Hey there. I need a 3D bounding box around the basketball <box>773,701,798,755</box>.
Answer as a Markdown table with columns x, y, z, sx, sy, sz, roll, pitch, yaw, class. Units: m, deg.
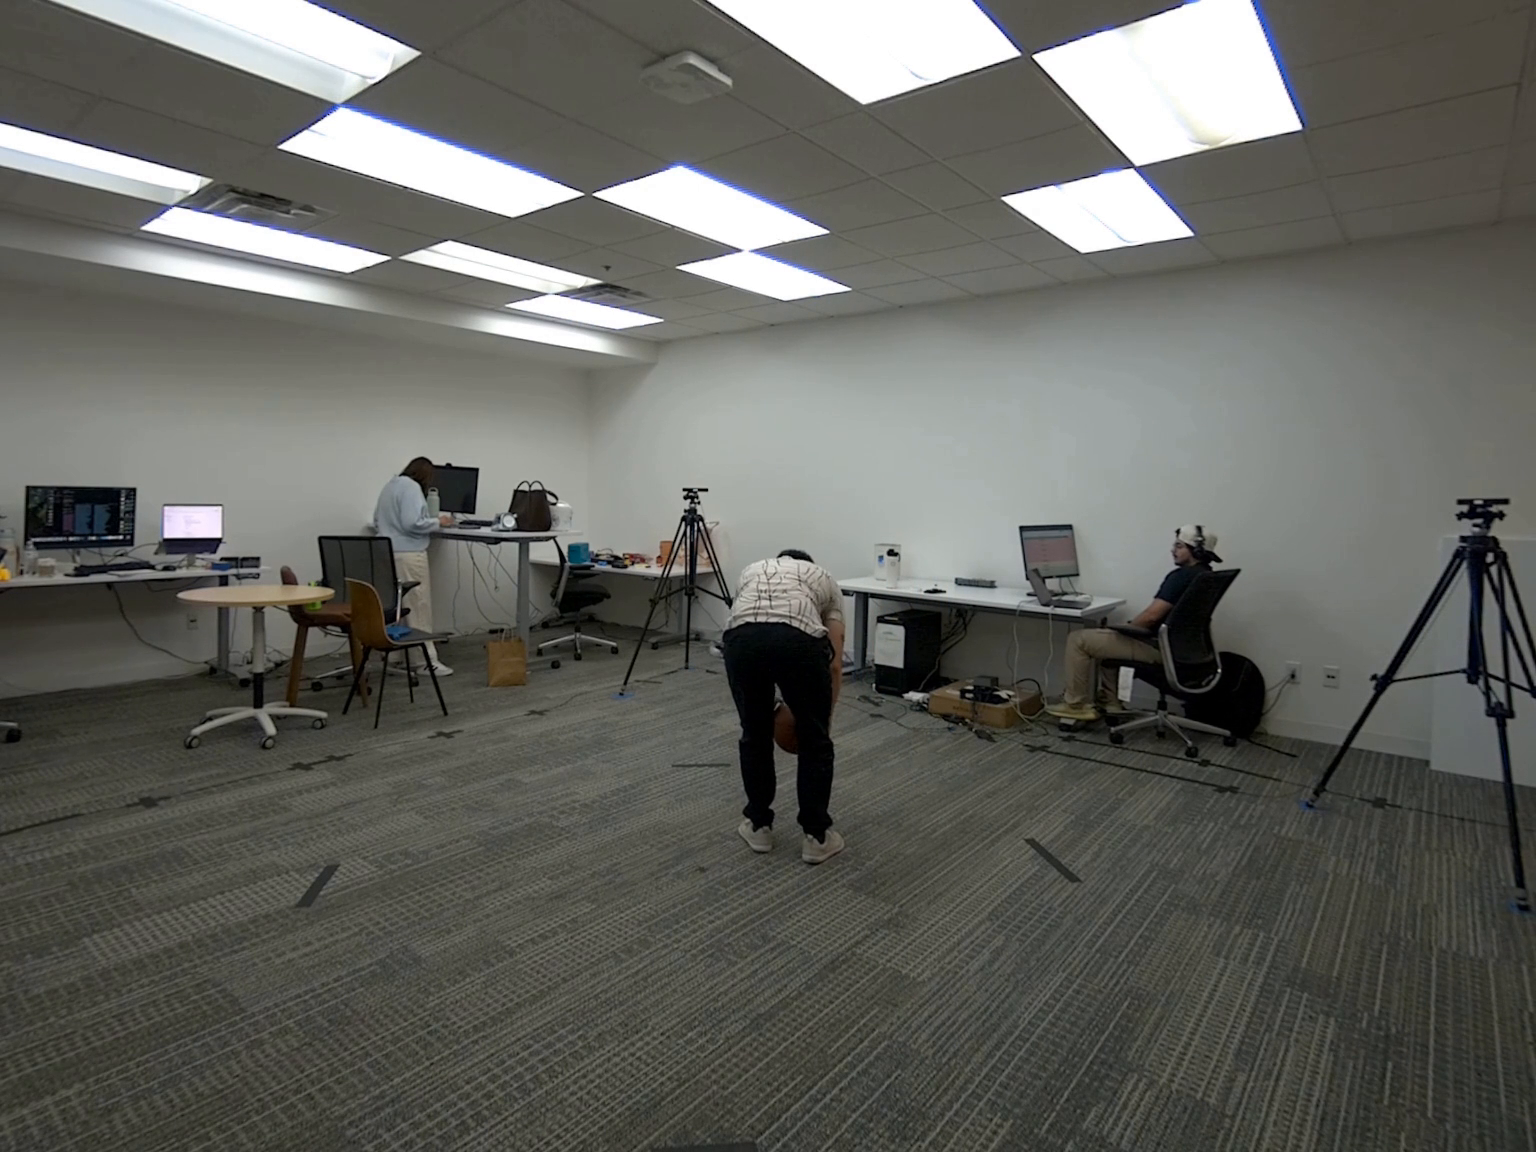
| x | y | z | sx | sy | sz | roll | pitch | yaw | class |
| --- | --- | --- | --- | --- | --- | --- | --- | --- | --- |
| 0.123 | 0.638 | 3.653 | 0.235 | 0.235 | 0.237 | 1 | 4 | -2 | basketball |
